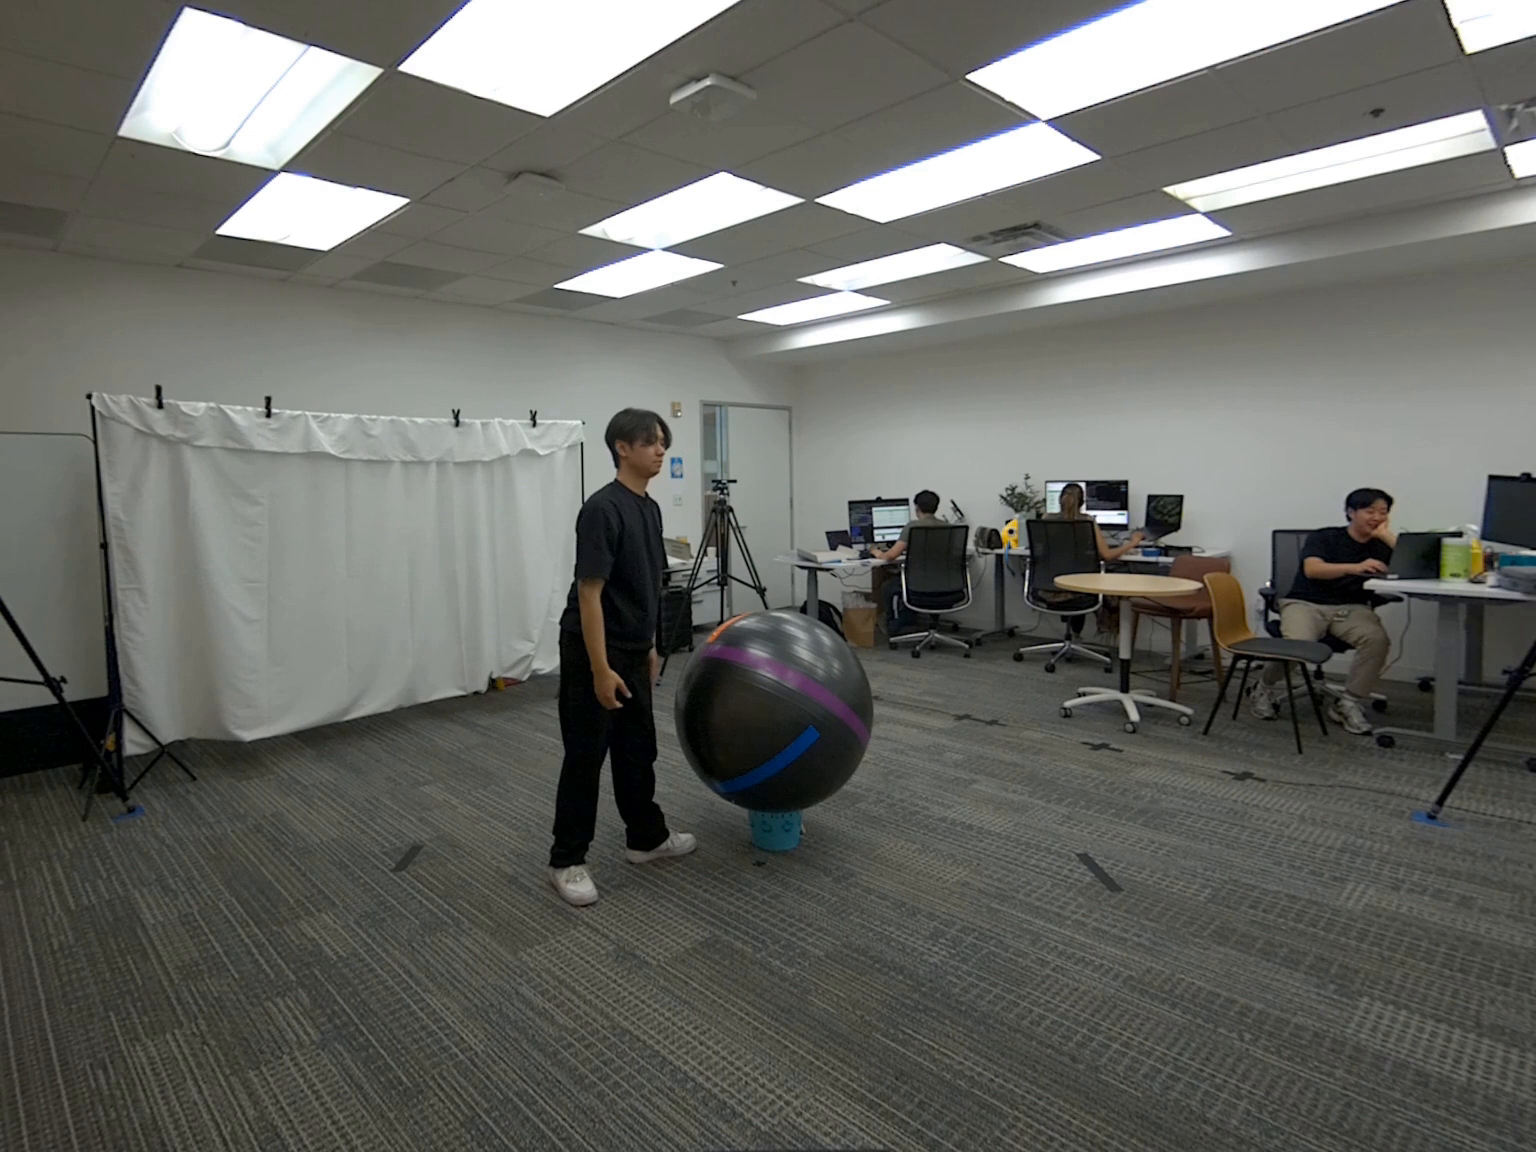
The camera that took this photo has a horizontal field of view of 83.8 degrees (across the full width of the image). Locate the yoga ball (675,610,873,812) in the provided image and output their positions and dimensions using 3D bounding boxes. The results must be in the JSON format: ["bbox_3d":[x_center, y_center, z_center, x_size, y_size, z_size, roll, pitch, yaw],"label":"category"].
[{"bbox_3d":[0.020,0.511,3.290,0.757,0.755,0.762,-1,5,-2],"label":"yoga ball"}]
